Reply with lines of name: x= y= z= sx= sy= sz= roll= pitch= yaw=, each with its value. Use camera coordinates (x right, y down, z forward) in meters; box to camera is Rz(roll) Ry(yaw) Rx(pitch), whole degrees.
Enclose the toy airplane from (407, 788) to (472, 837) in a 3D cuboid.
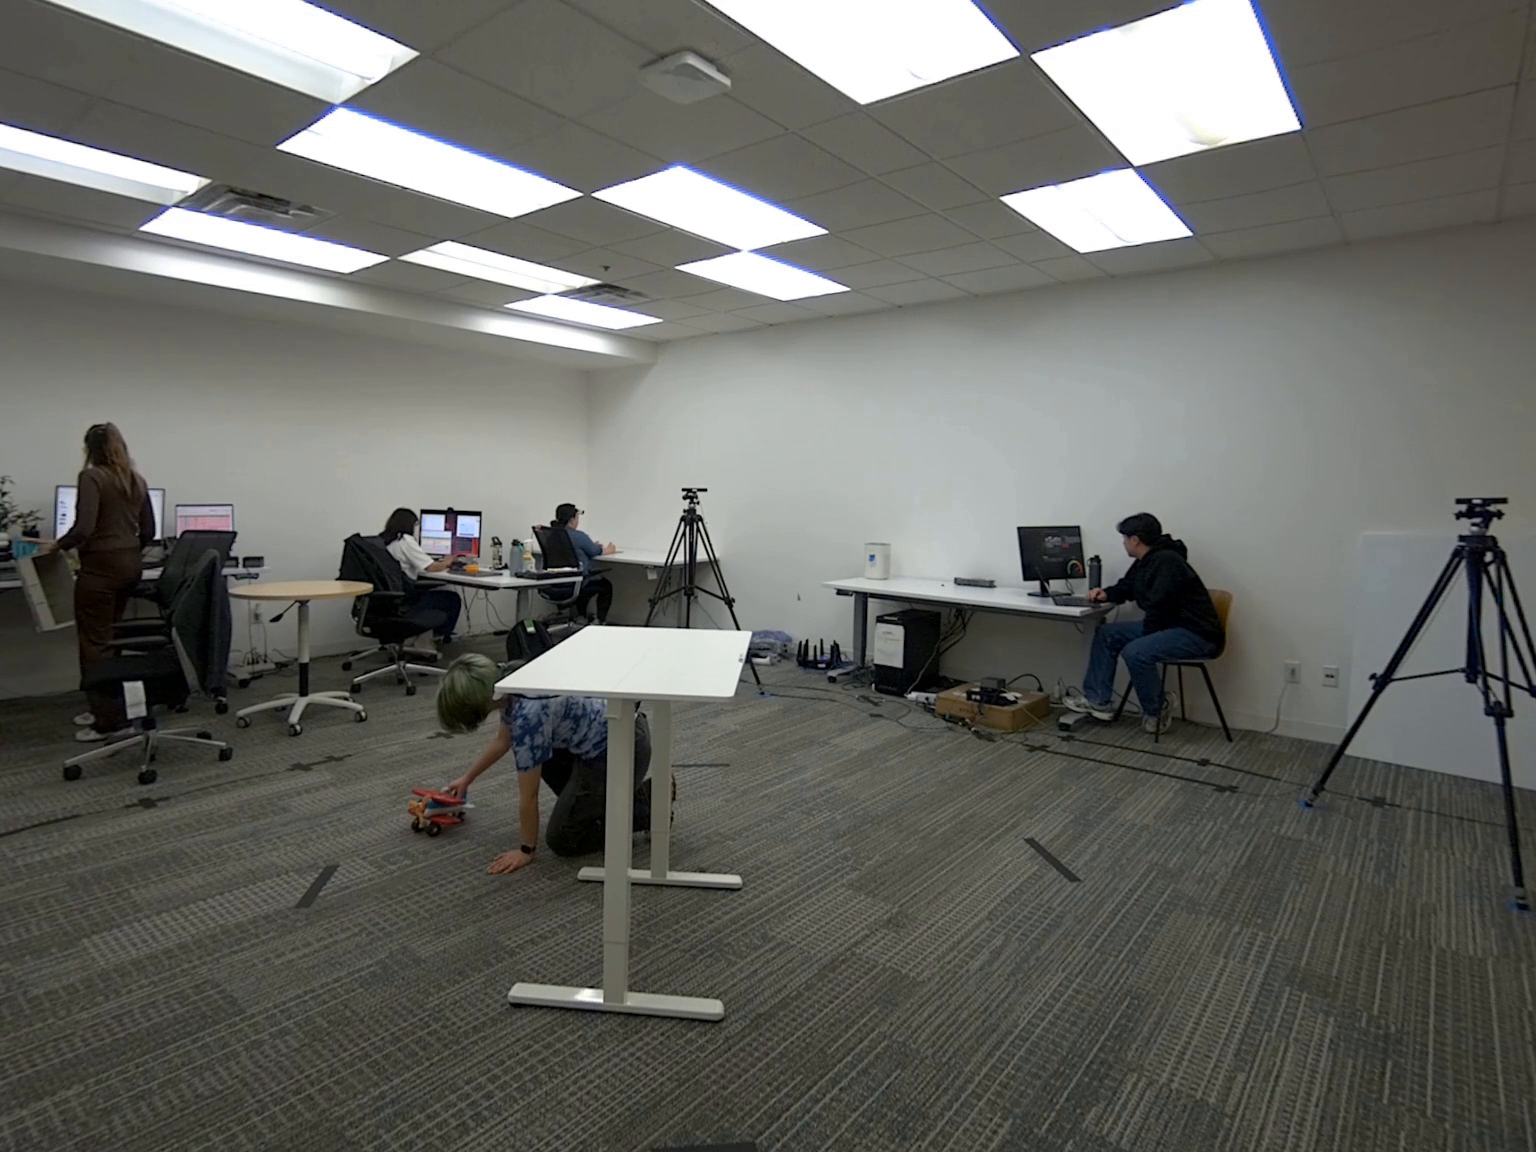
toy airplane: x=-1.363 y=0.945 z=3.466 sx=0.251 sy=0.156 sz=0.260 roll=1 pitch=5 yaw=0
